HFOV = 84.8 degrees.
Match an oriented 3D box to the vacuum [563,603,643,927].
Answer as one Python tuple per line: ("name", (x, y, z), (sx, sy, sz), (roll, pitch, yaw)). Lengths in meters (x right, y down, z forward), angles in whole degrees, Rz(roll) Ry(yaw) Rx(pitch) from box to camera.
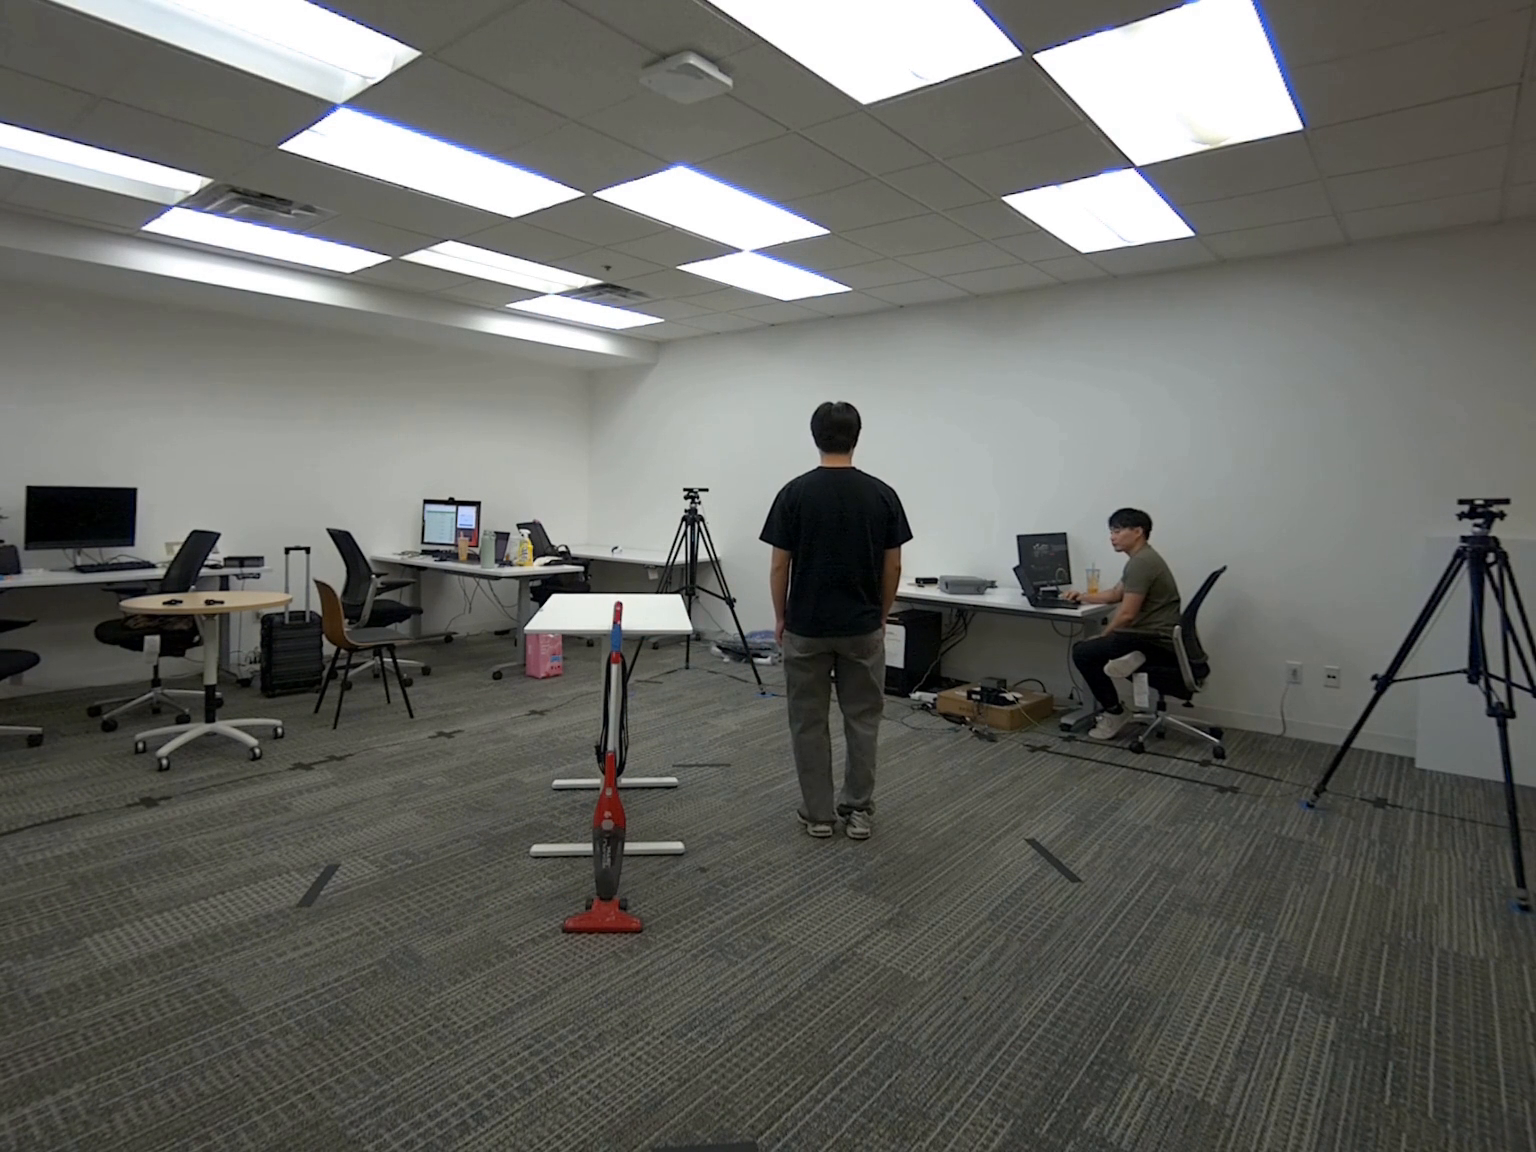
("vacuum", (-0.539, 0.601, 2.909), (0.251, 1.070, 0.142), (2, -21, -5))
